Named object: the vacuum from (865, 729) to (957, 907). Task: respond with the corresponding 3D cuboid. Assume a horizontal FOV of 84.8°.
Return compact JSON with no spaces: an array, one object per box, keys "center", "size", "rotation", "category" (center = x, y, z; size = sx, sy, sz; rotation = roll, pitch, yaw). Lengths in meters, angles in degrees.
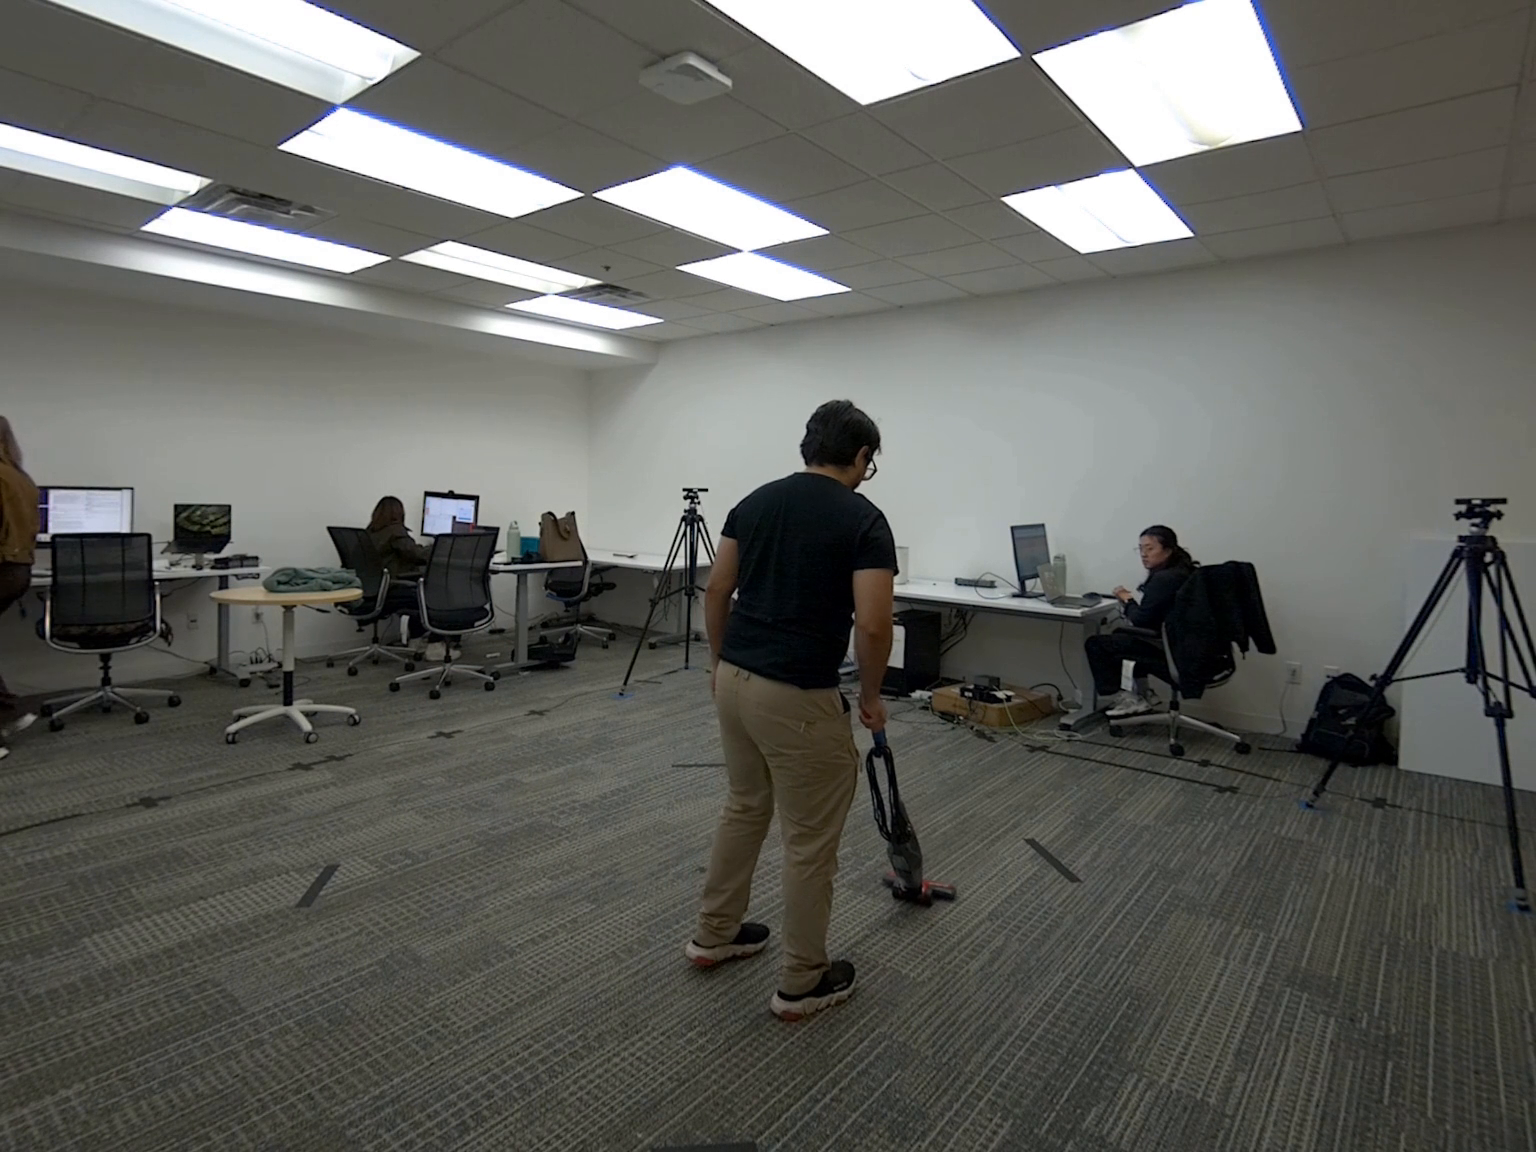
[{"center":[0.382,0.731,2.631],"size":[0.259,1.011,0.145],"rotation":[7,47,25],"category":"vacuum"}]
